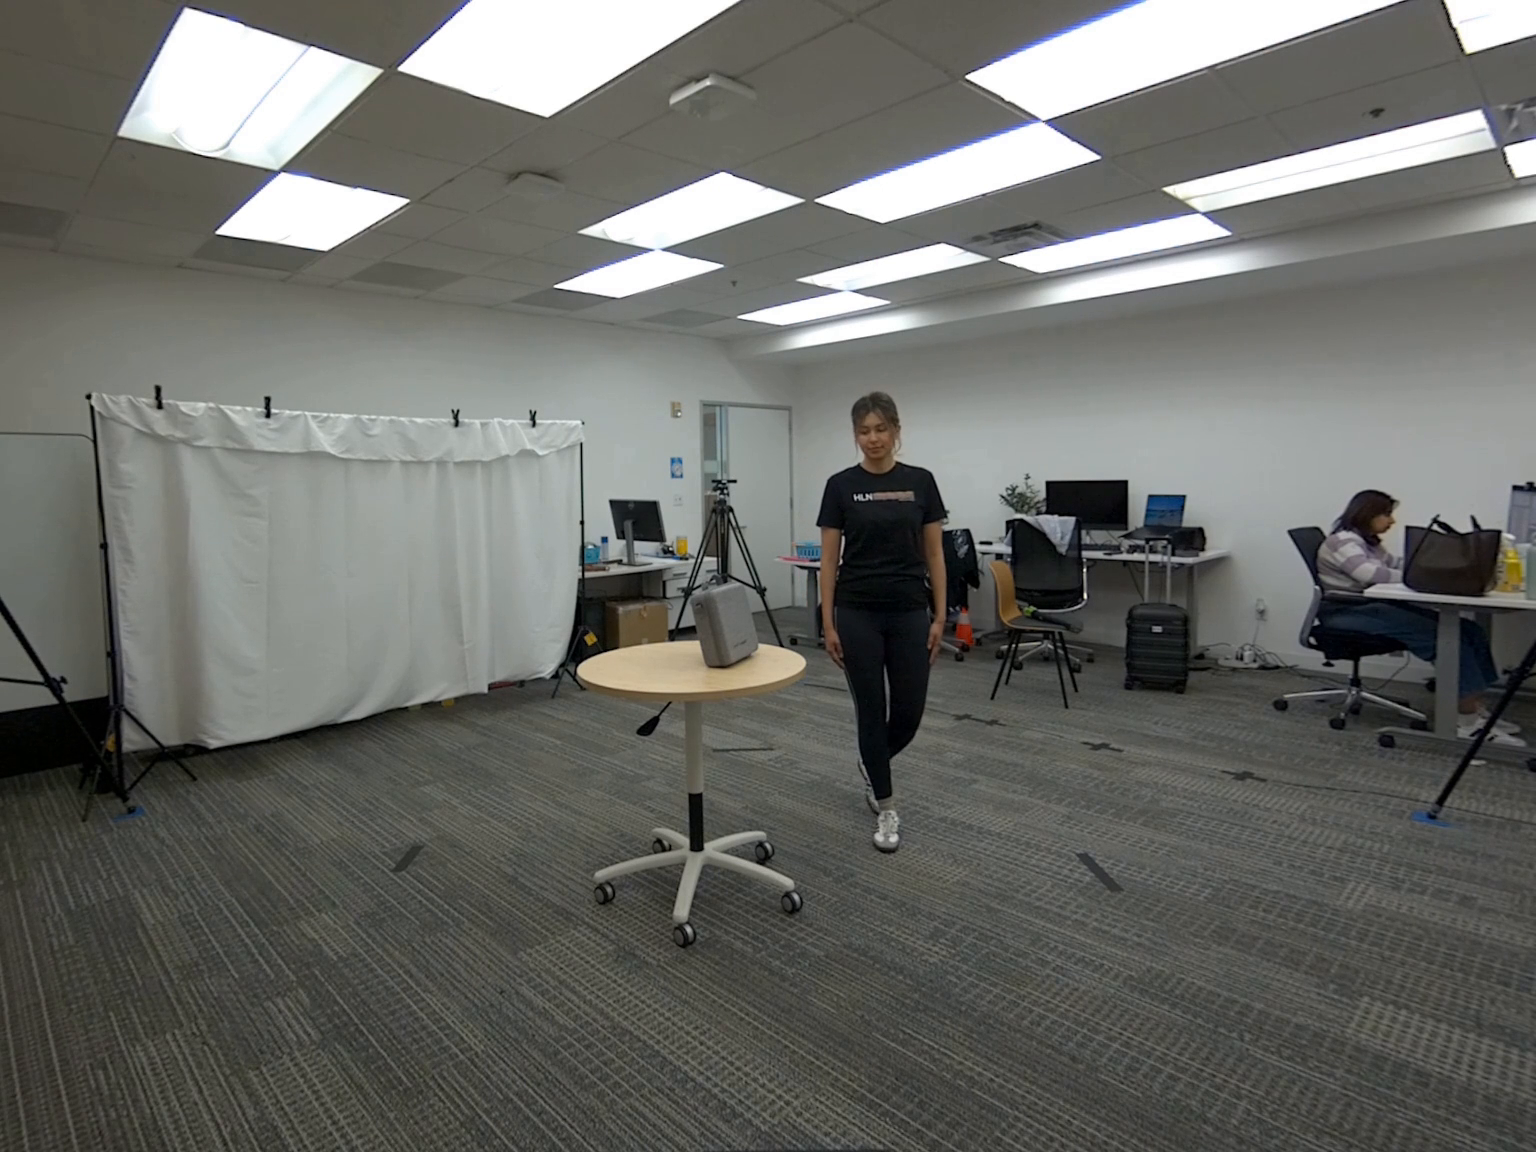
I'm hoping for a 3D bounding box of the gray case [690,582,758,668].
[{"bbox_3d":[-0.141,0.156,2.892,0.106,0.261,0.252,-12,-1,24],"label":"gray case"}]
